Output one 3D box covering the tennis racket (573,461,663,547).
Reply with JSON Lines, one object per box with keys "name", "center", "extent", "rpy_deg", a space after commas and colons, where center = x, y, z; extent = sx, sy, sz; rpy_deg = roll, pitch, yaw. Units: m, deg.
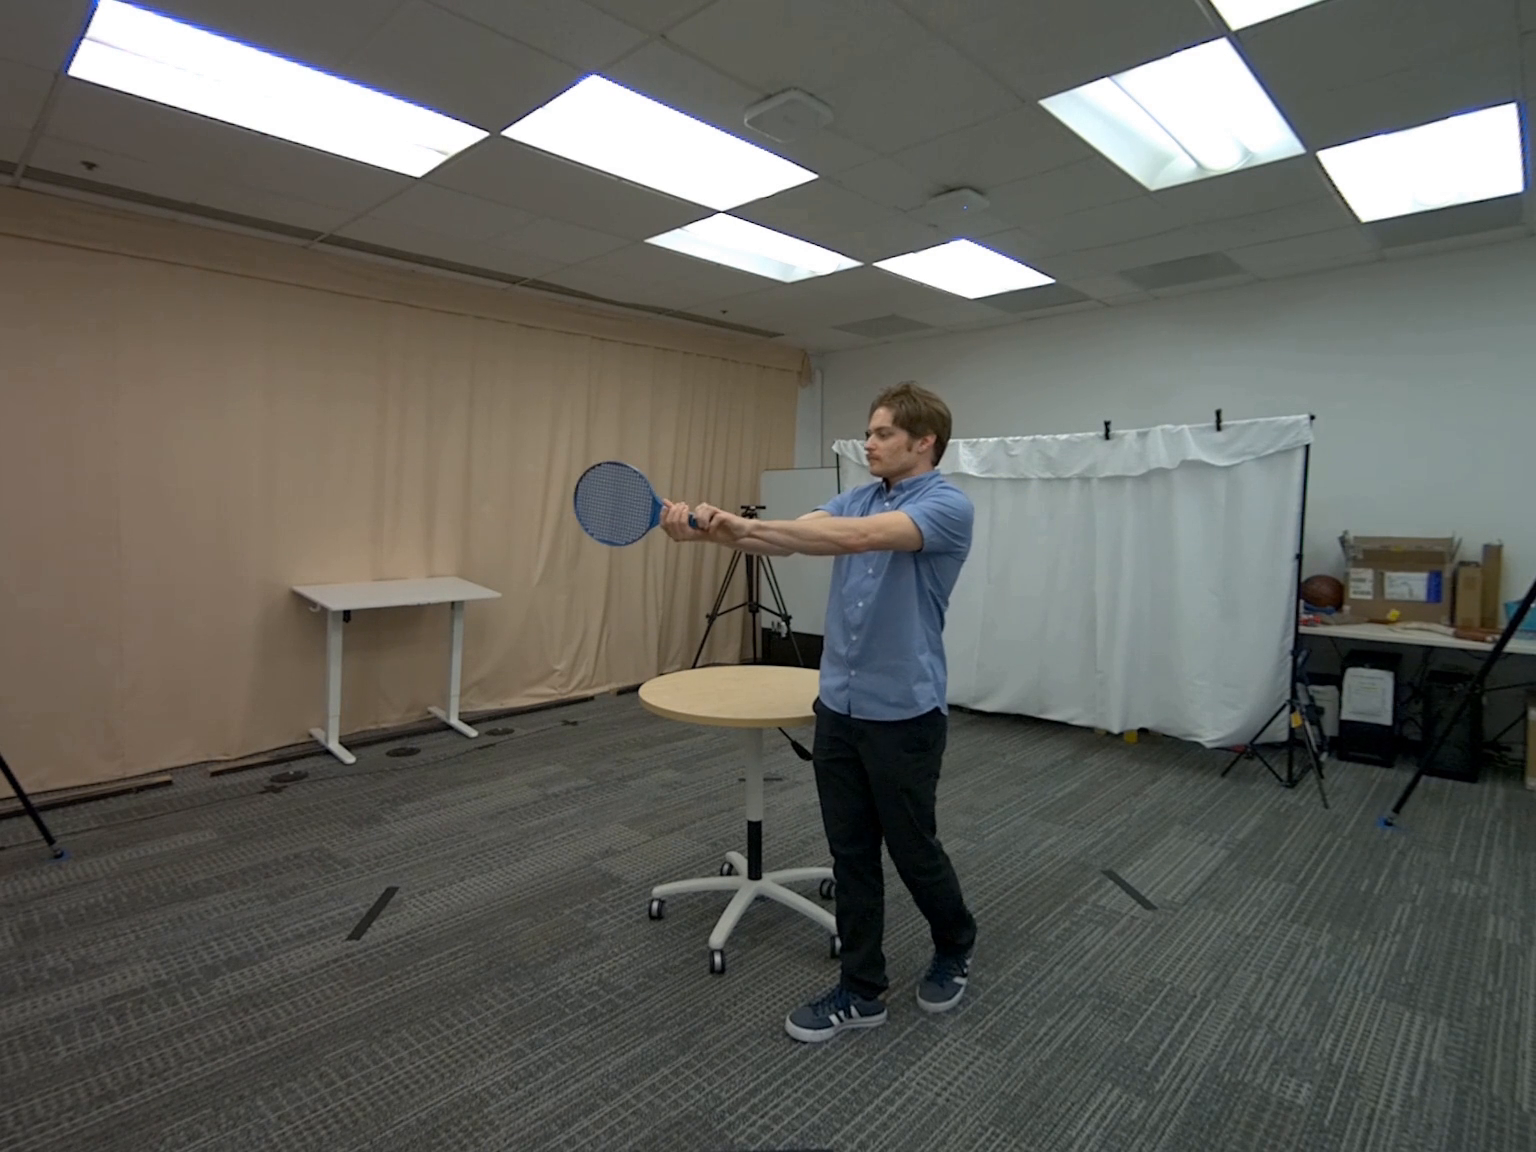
{"name": "tennis racket", "center": [-0.314, -0.164, 2.102], "extent": [0.446, 0.213, 0.031], "rpy_deg": [9, 8, 30]}
